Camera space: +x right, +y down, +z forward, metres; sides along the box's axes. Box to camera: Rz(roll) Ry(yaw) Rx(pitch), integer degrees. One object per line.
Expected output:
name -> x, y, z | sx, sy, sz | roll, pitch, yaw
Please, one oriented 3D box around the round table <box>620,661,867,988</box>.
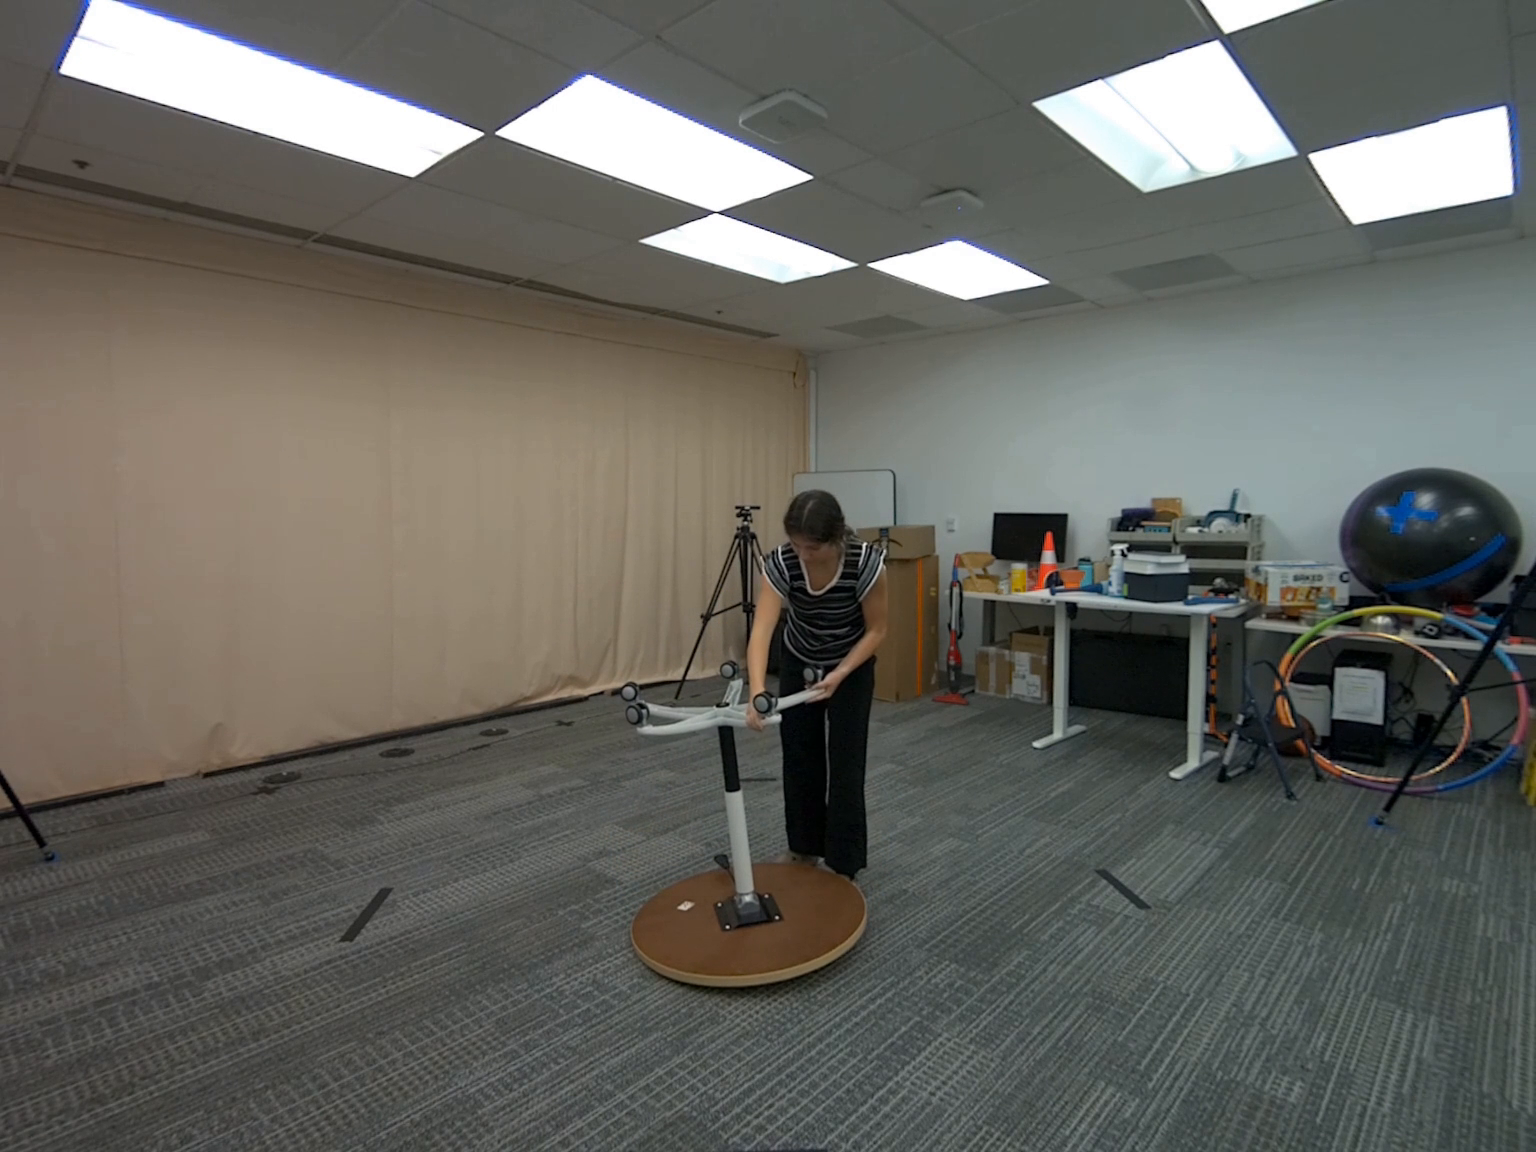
round table -> -0.103, 0.739, 2.728 | 0.763, 0.792, 0.766 | -6, 4, -1
